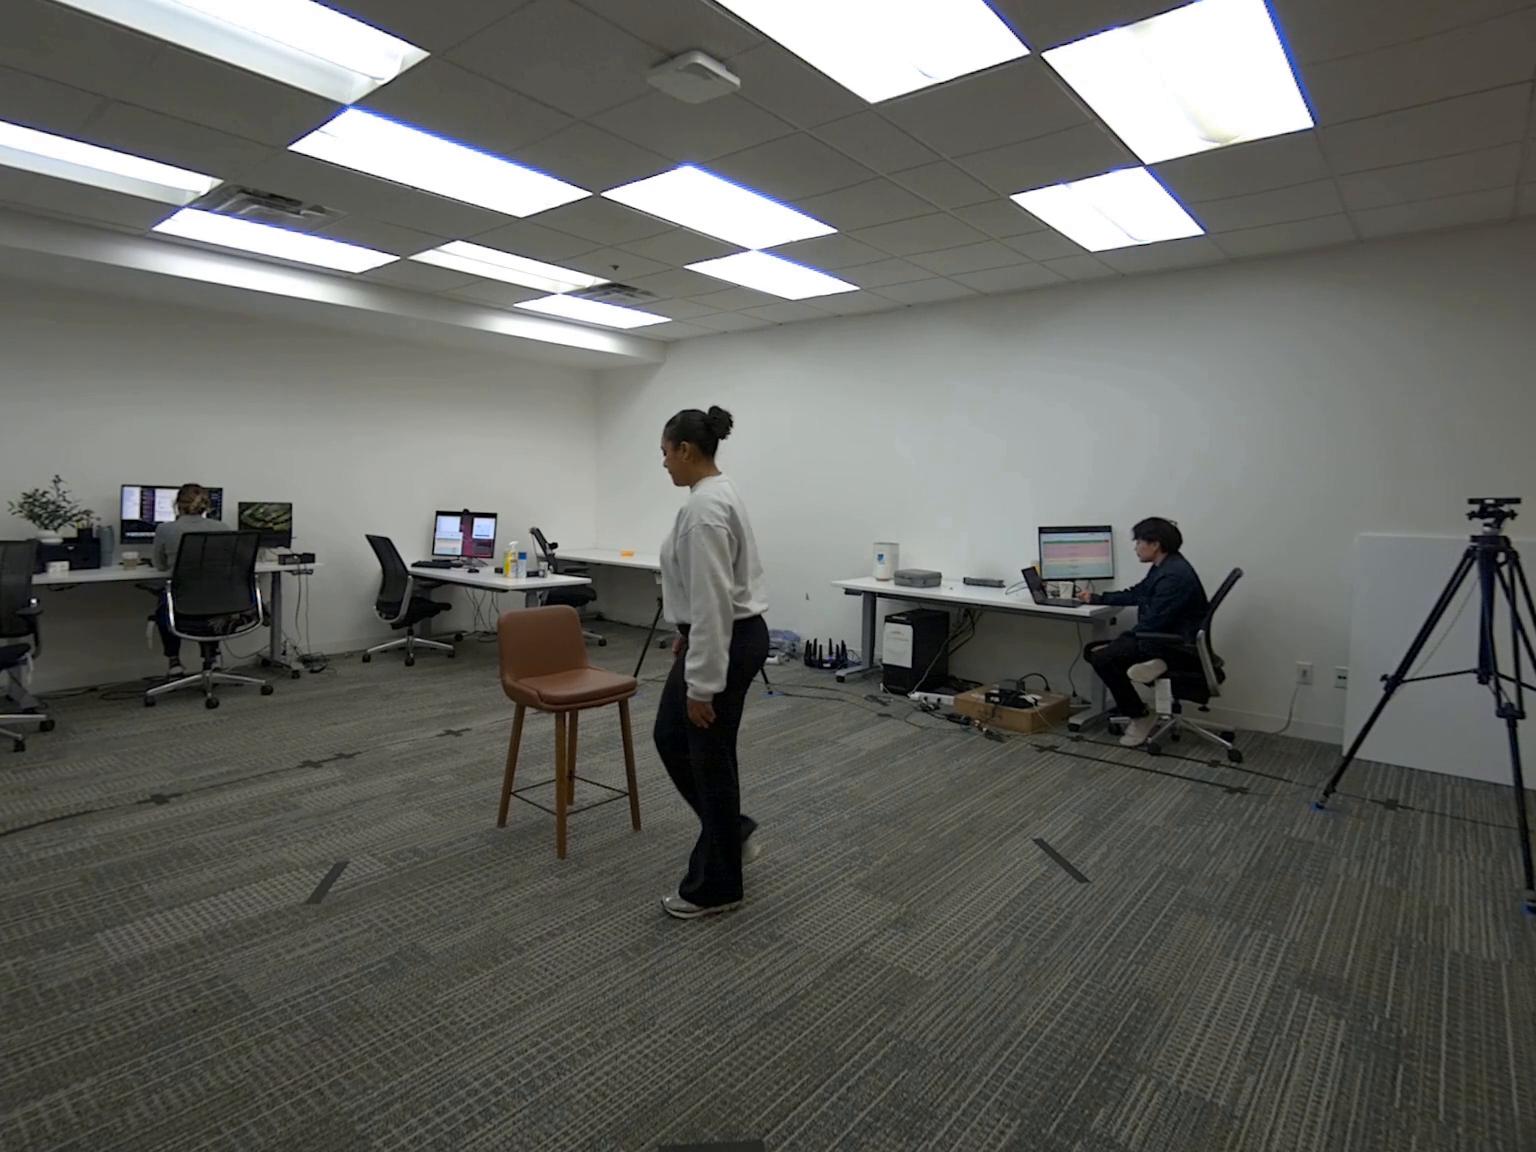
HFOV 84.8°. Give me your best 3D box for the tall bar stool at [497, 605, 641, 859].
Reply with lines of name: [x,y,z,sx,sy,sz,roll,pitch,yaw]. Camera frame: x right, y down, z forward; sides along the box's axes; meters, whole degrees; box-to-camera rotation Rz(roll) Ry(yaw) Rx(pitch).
tall bar stool: [-0.823,0.586,3.442,0.483,0.889,0.442,1,2,41]
